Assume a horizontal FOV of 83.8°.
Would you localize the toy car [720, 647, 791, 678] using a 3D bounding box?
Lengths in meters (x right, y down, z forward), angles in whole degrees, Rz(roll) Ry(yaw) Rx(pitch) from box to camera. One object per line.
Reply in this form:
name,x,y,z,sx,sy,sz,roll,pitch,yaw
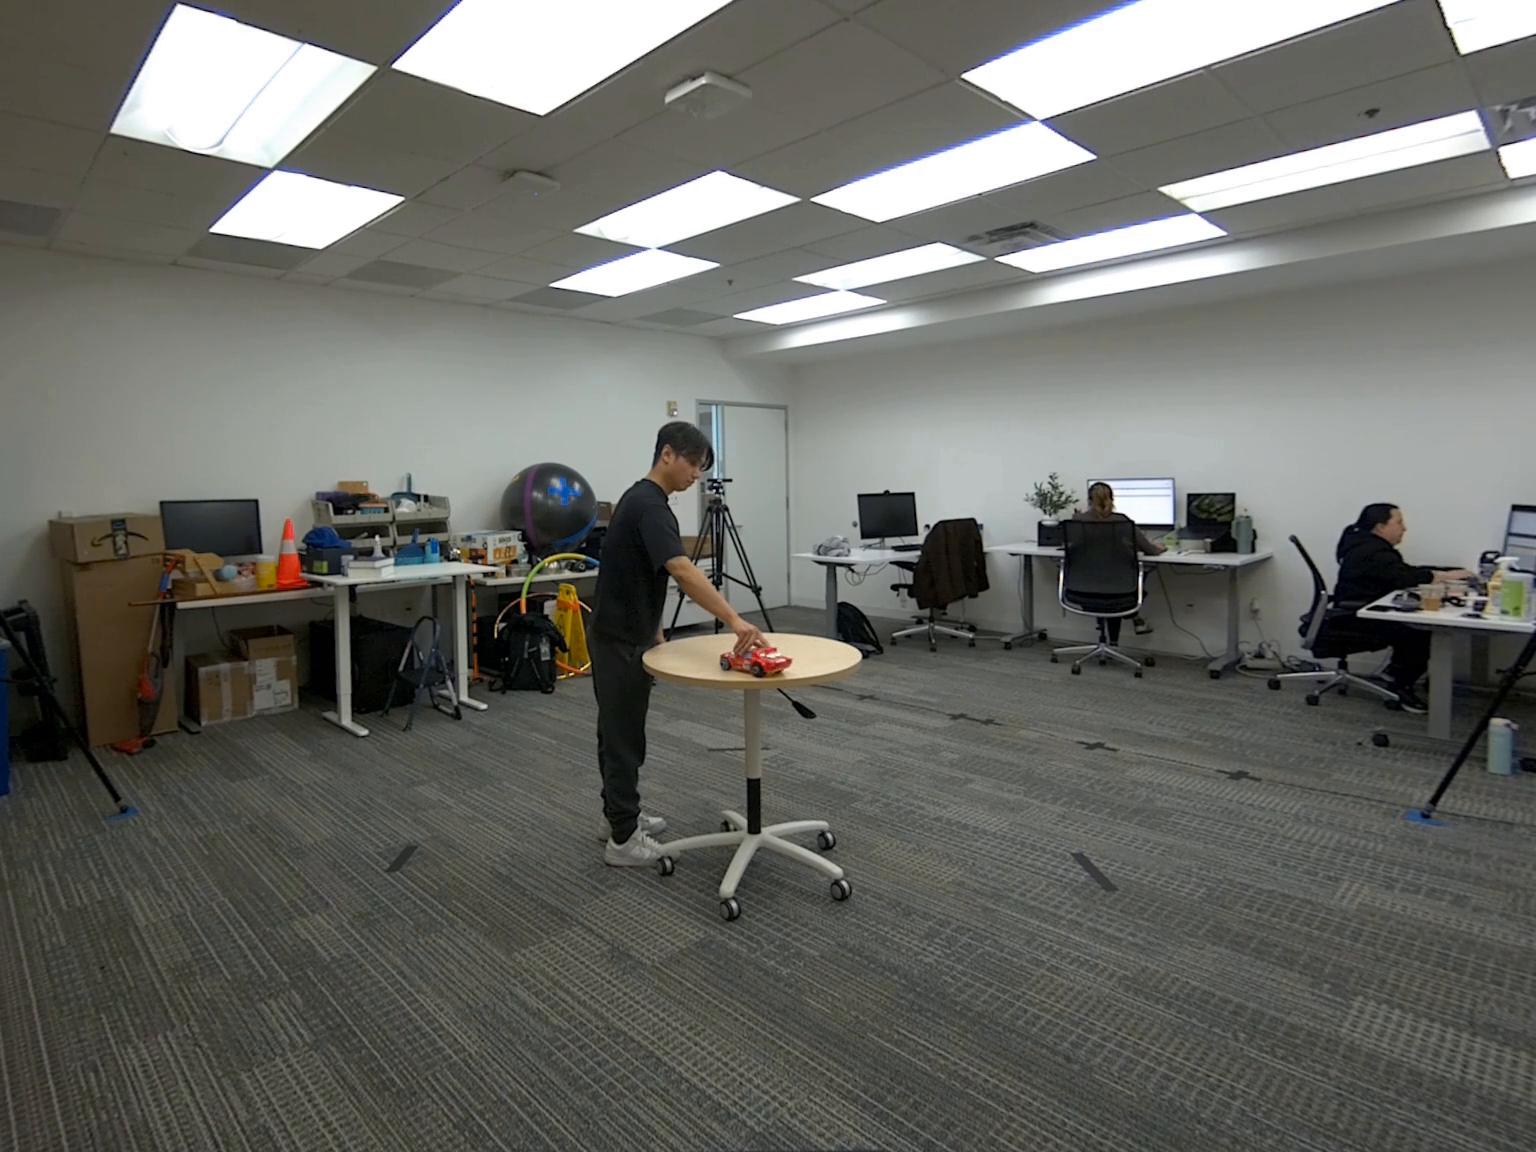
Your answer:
toy car,-0.029,0.277,2.728,0.127,0.083,0.260,-8,-2,-45
